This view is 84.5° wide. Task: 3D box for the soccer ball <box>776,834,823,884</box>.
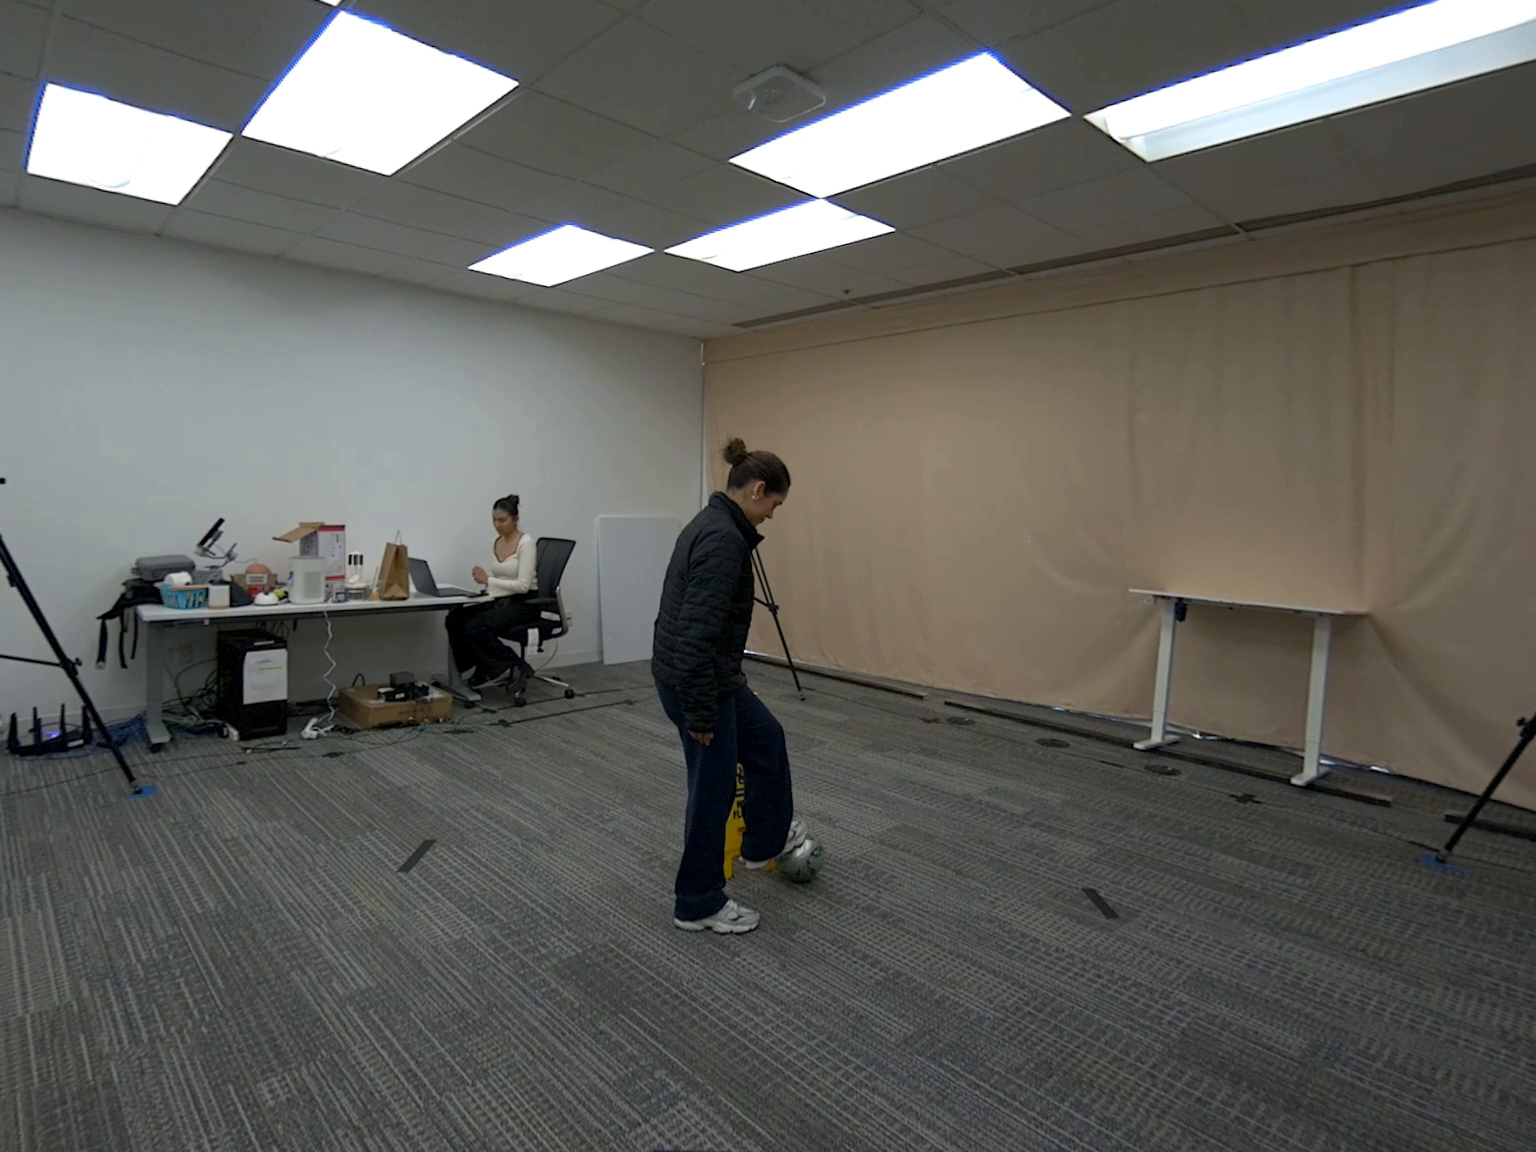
[{"bbox_3d":[0.111,1.021,3.083,0.187,0.187,0.188,1,4,-1],"label":"soccer ball"}]
